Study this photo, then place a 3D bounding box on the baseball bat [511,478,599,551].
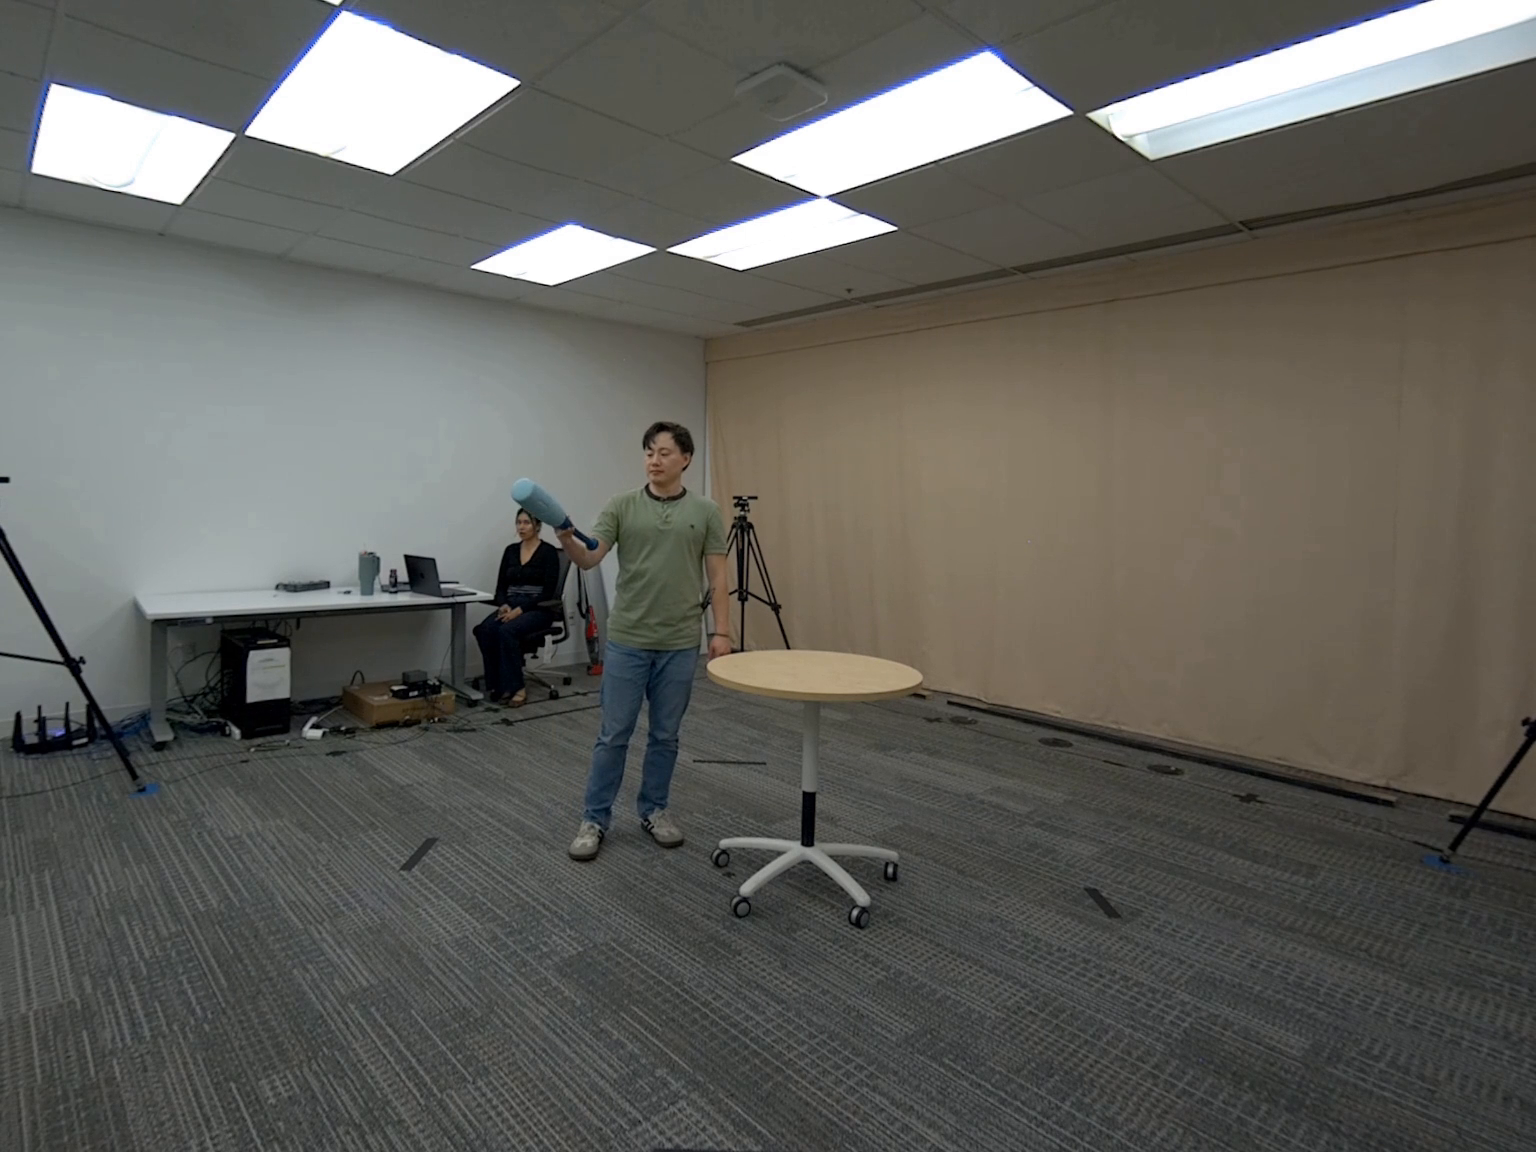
[{"bbox_3d":[-0.727,-0.196,2.914,0.090,0.090,0.530,3,-17,16],"label":"baseball bat"}]
